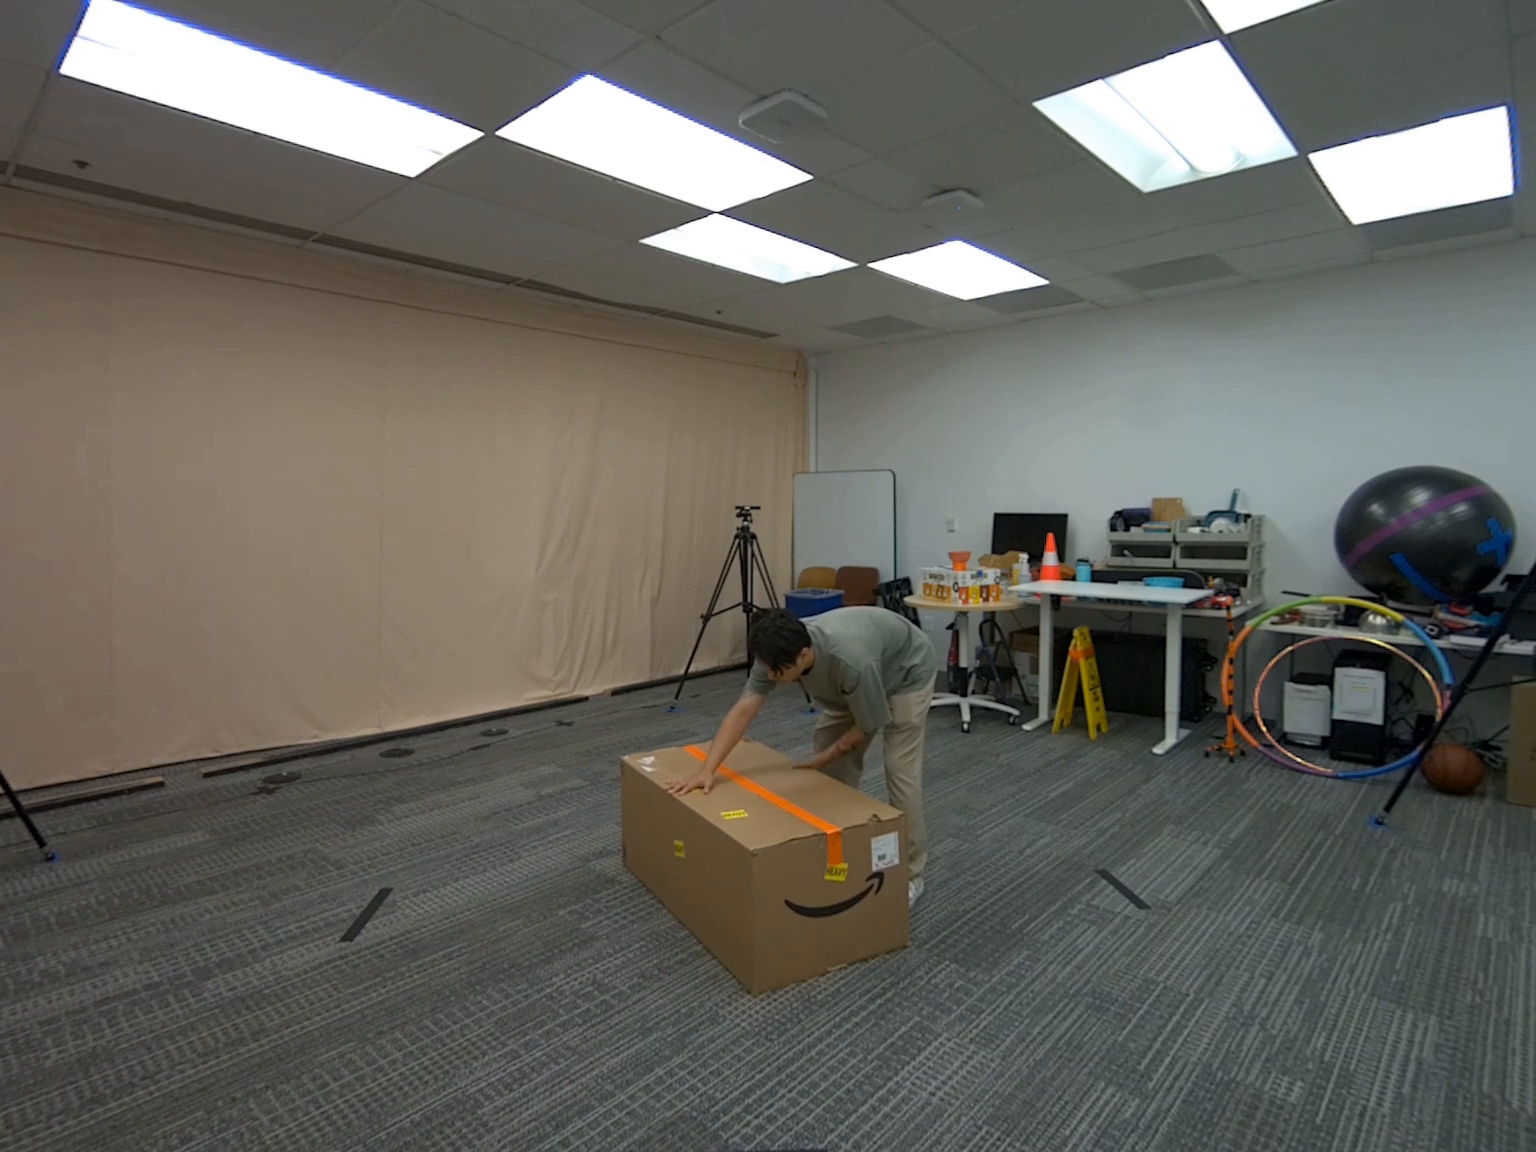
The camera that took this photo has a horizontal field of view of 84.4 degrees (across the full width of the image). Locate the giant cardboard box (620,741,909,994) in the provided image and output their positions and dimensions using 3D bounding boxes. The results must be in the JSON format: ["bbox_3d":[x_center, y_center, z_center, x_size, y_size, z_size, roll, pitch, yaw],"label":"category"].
[{"bbox_3d":[-0.066,0.930,2.957,0.562,0.425,1.055,-2,5,-30],"label":"giant cardboard box"}]
